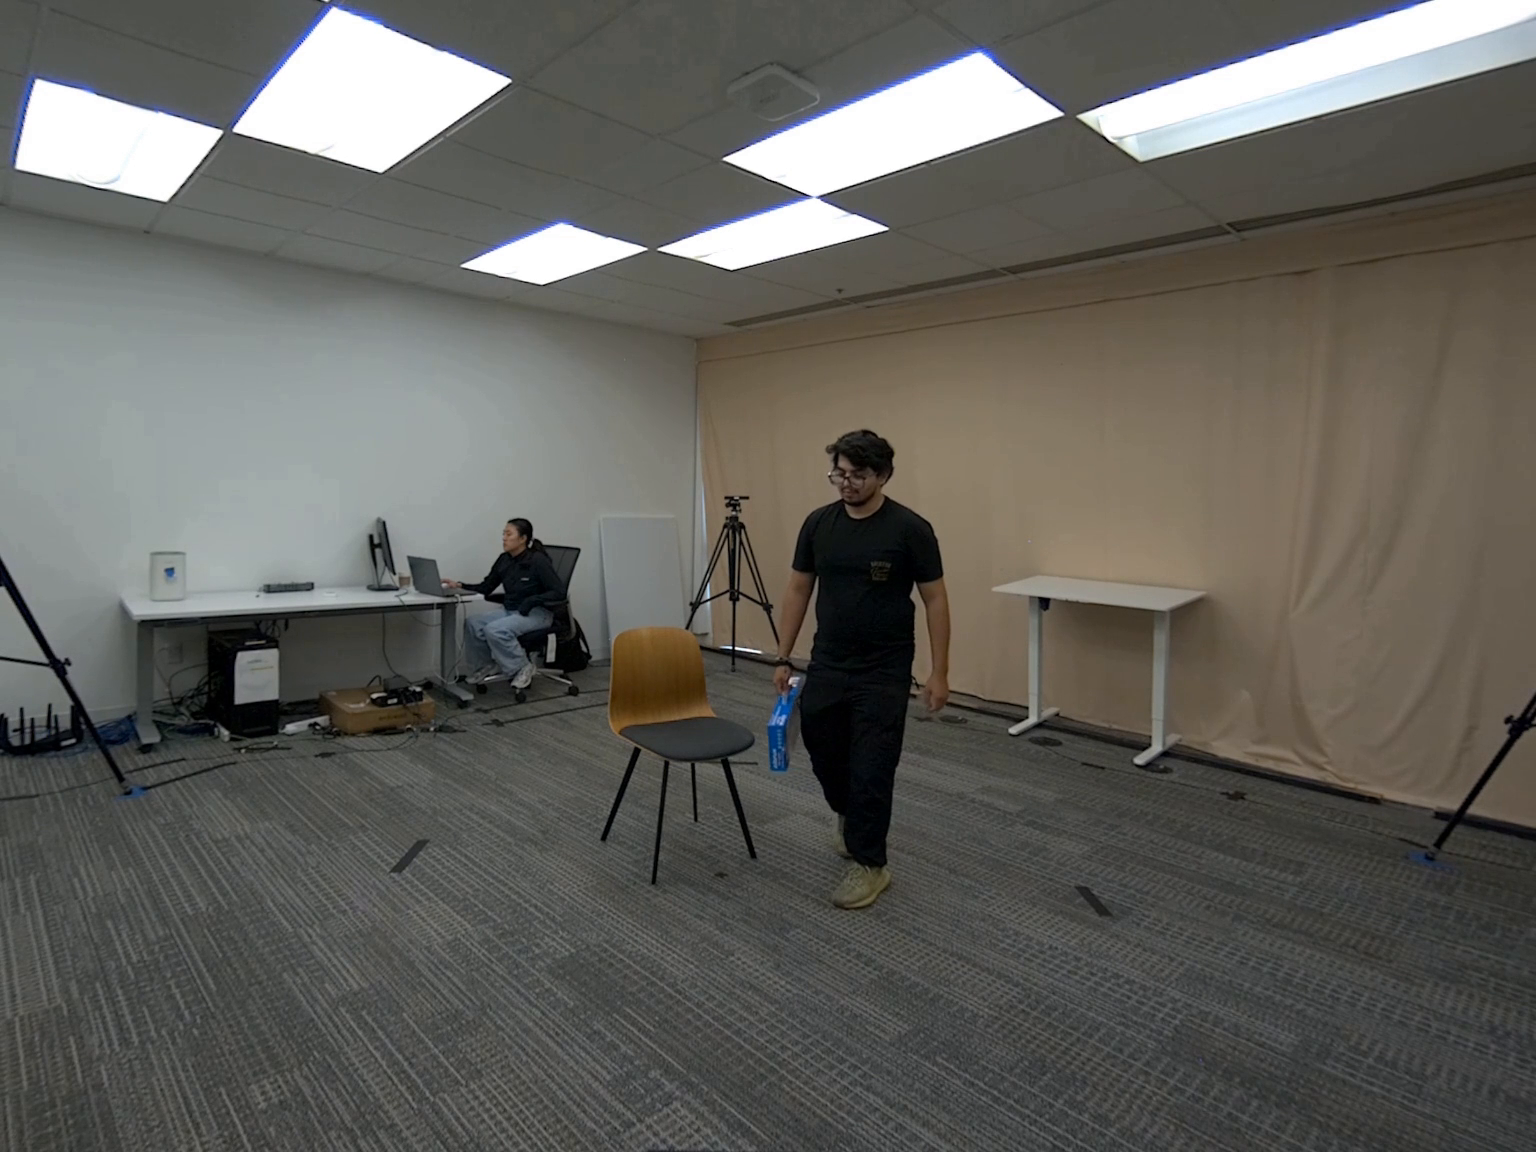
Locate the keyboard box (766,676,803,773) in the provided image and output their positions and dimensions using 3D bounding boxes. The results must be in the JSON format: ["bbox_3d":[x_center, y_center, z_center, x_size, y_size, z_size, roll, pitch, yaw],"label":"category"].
[{"bbox_3d":[0.065,0.535,3.095,0.059,0.174,0.438,-2,15,11],"label":"keyboard box"}]
